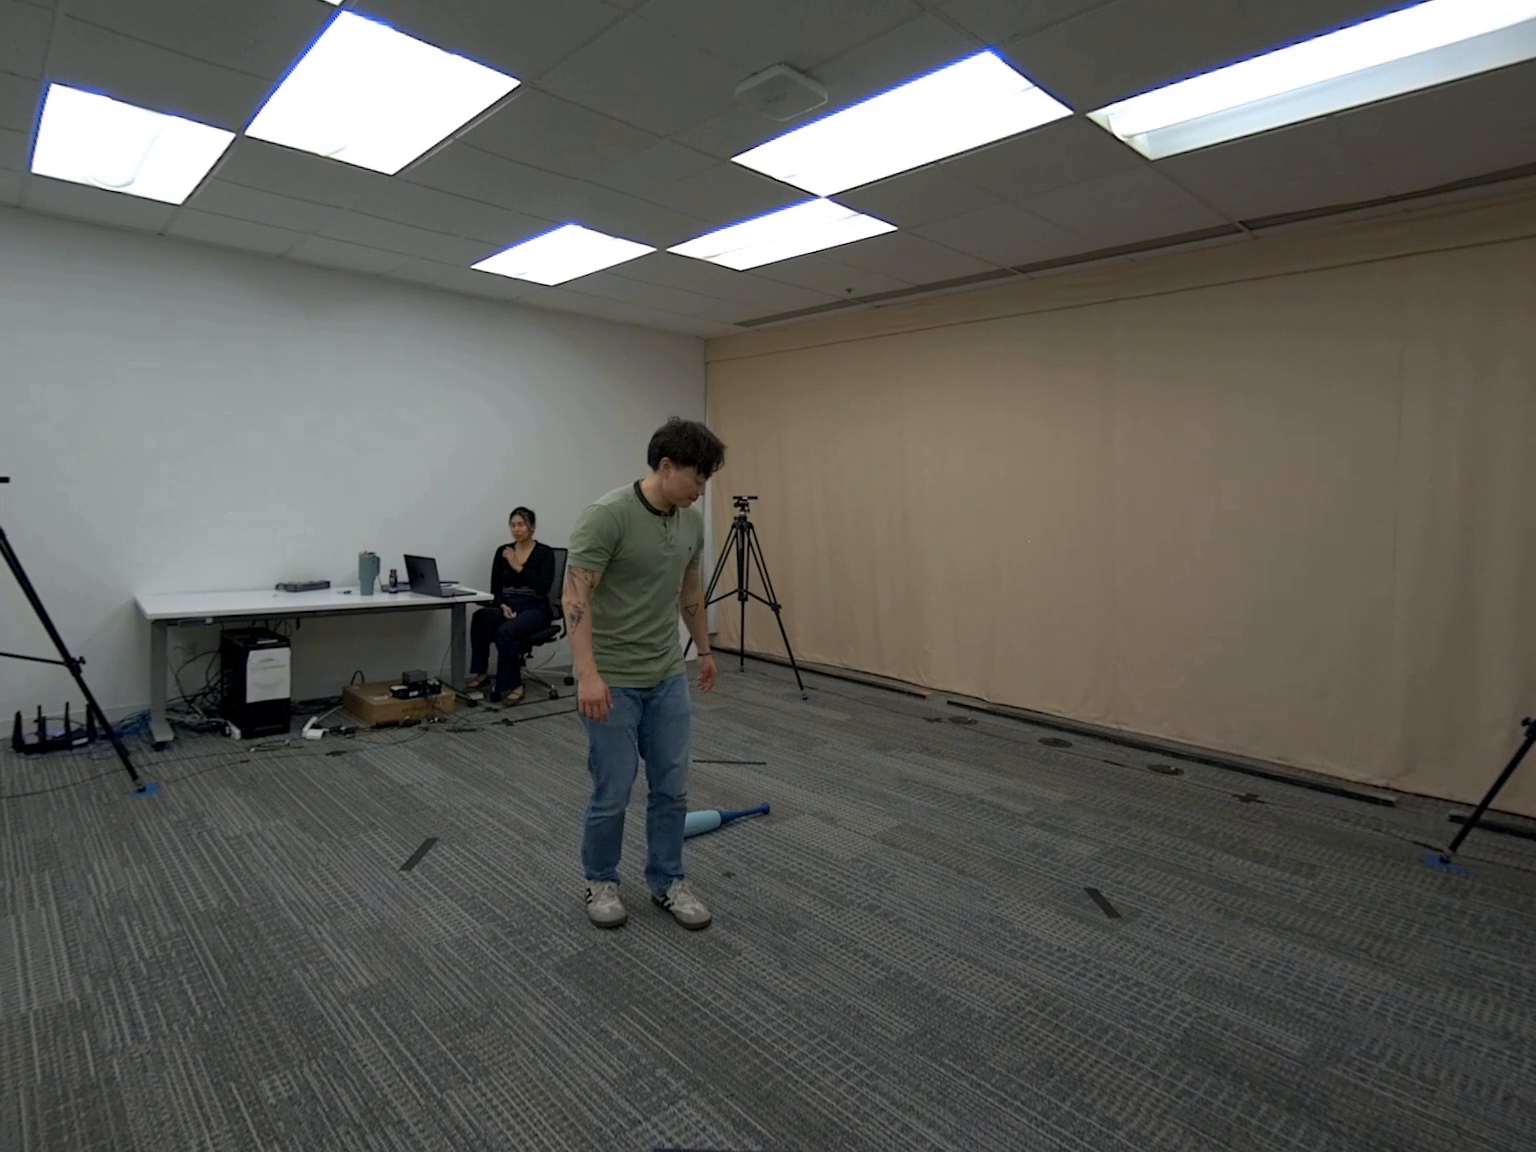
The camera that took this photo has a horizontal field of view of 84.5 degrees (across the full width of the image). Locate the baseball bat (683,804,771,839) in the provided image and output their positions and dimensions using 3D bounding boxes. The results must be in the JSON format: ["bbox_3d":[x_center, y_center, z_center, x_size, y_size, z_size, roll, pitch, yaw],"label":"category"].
[{"bbox_3d":[-0.215,1.027,3.563,0.530,0.089,0.091,2,3,-42],"label":"baseball bat"}]
